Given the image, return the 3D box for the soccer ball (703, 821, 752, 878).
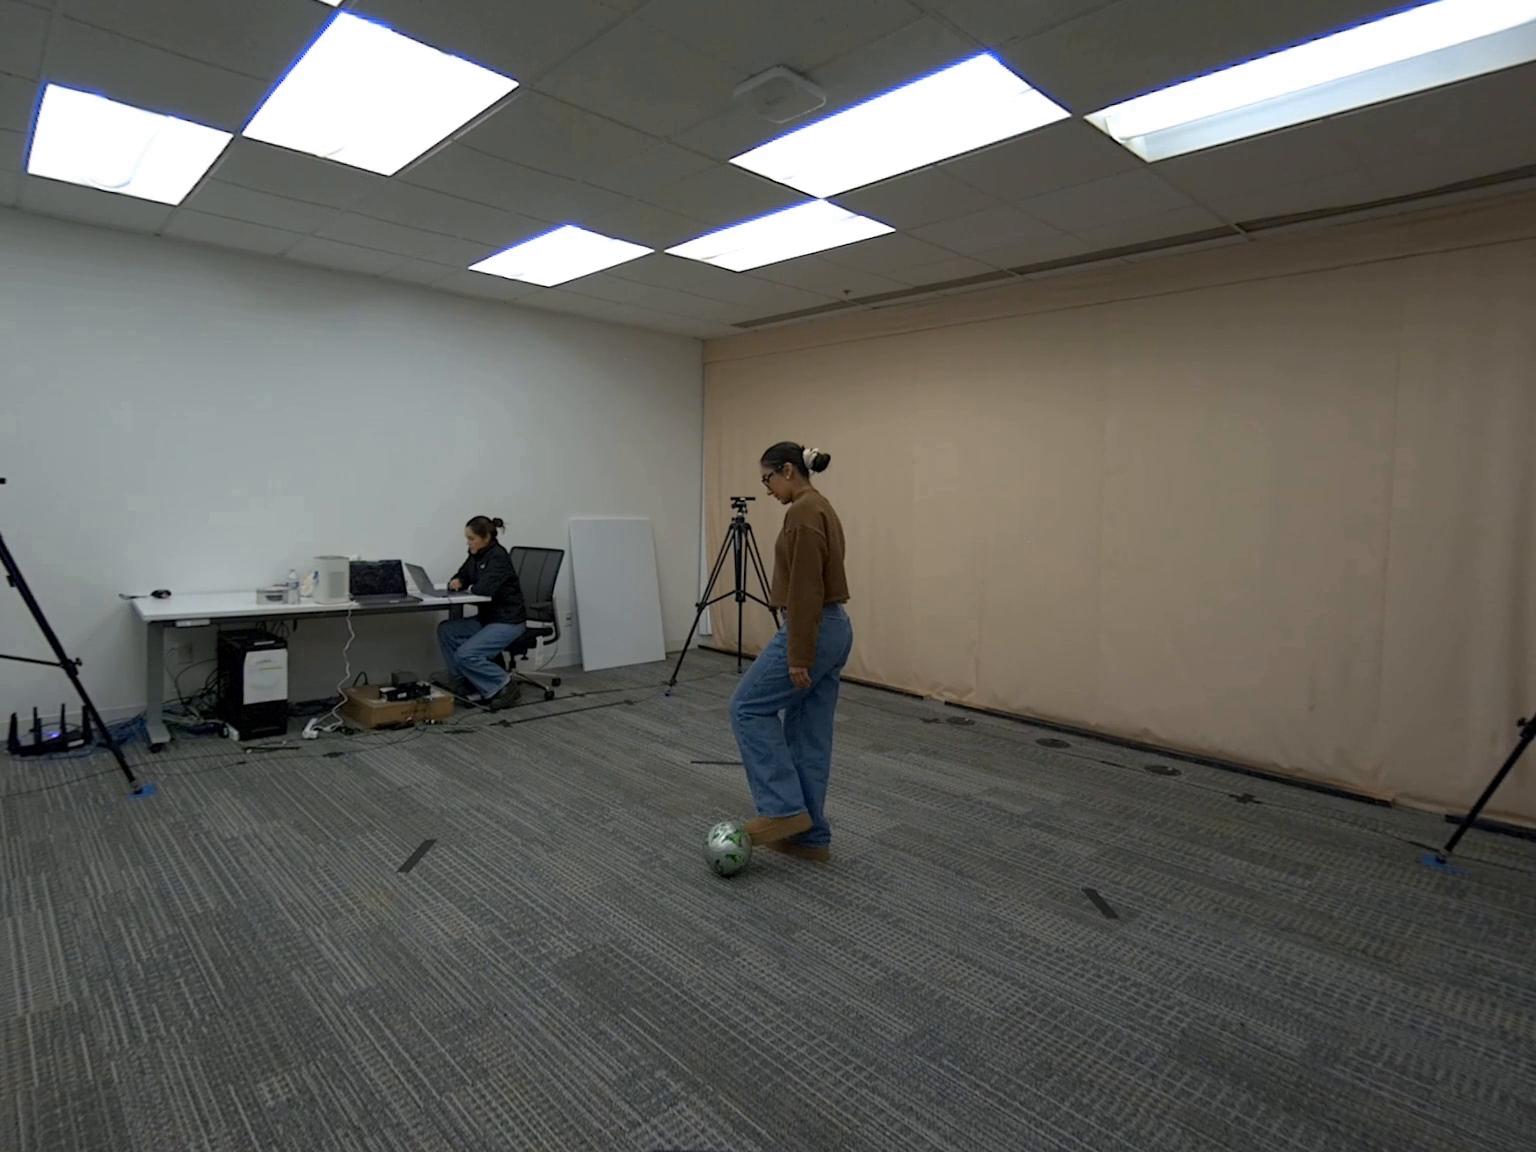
[{"bbox_3d":[-0.171,1.009,3.120,0.187,0.187,0.188,1,4,-1],"label":"soccer ball"}]
